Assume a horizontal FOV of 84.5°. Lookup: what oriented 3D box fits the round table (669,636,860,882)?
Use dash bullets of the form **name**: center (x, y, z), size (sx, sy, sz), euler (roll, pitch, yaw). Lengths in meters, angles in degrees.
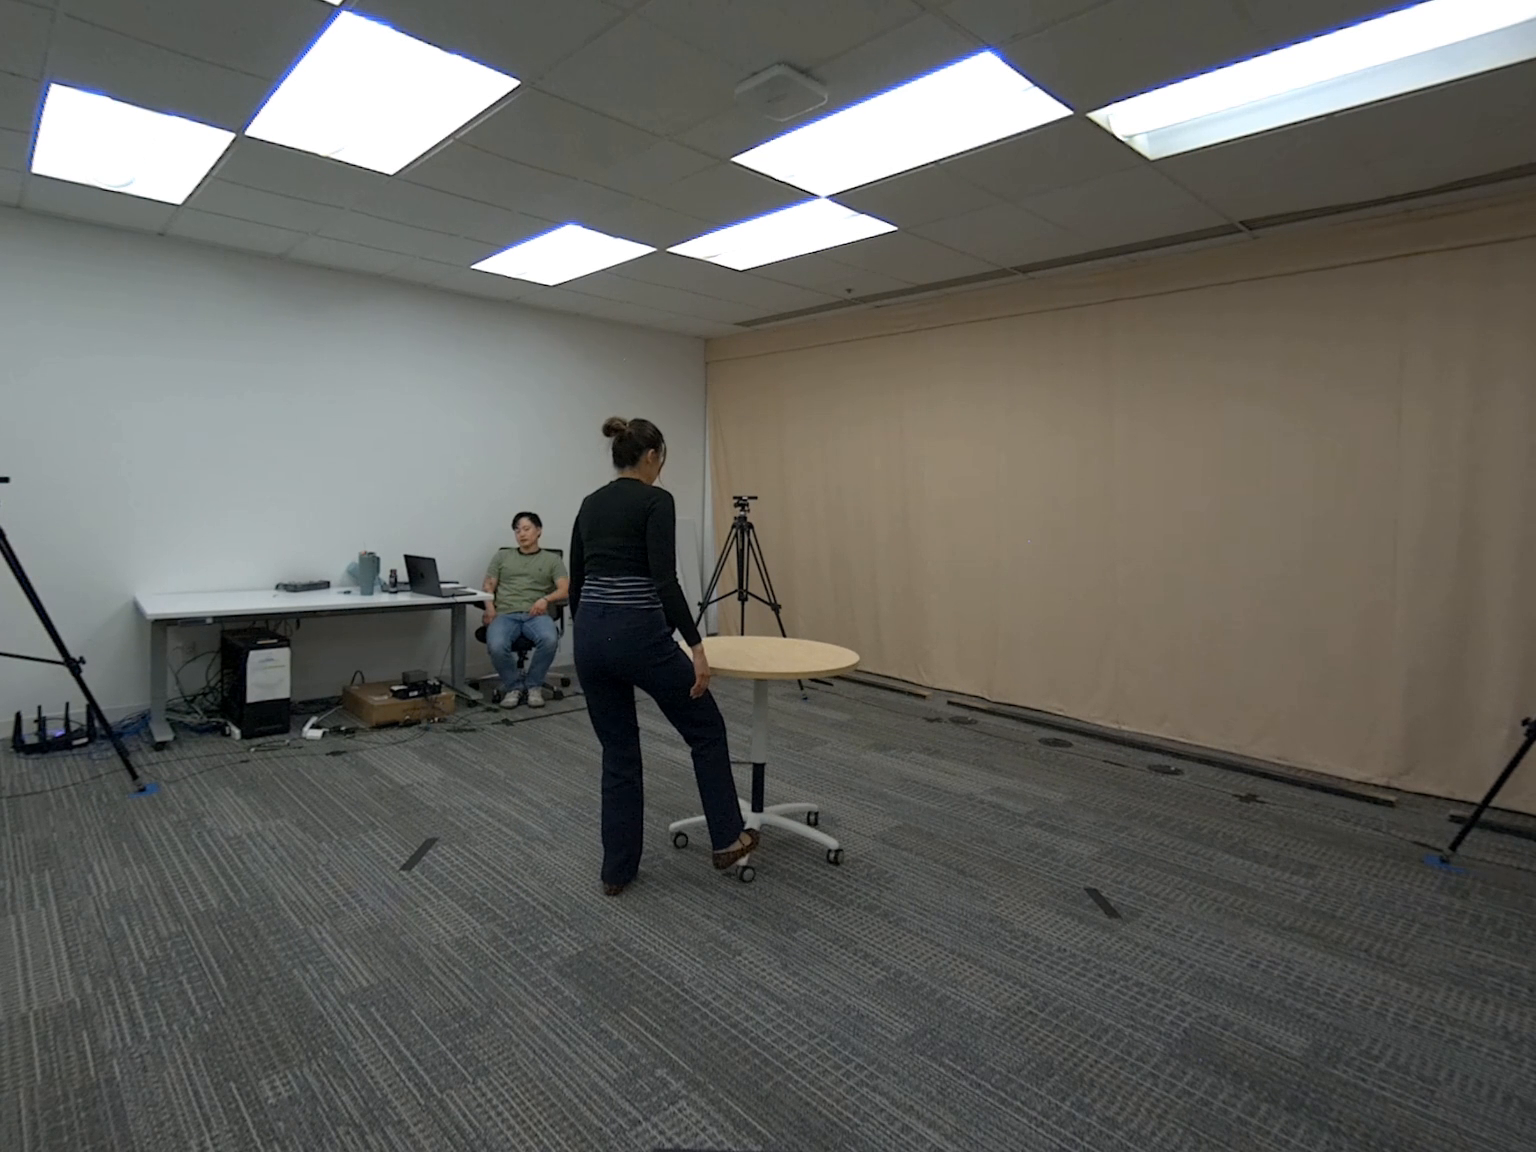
- **round table**: center (-0.042, 0.694, 3.369), size (0.763, 0.792, 0.767), euler (2, 4, -1)
